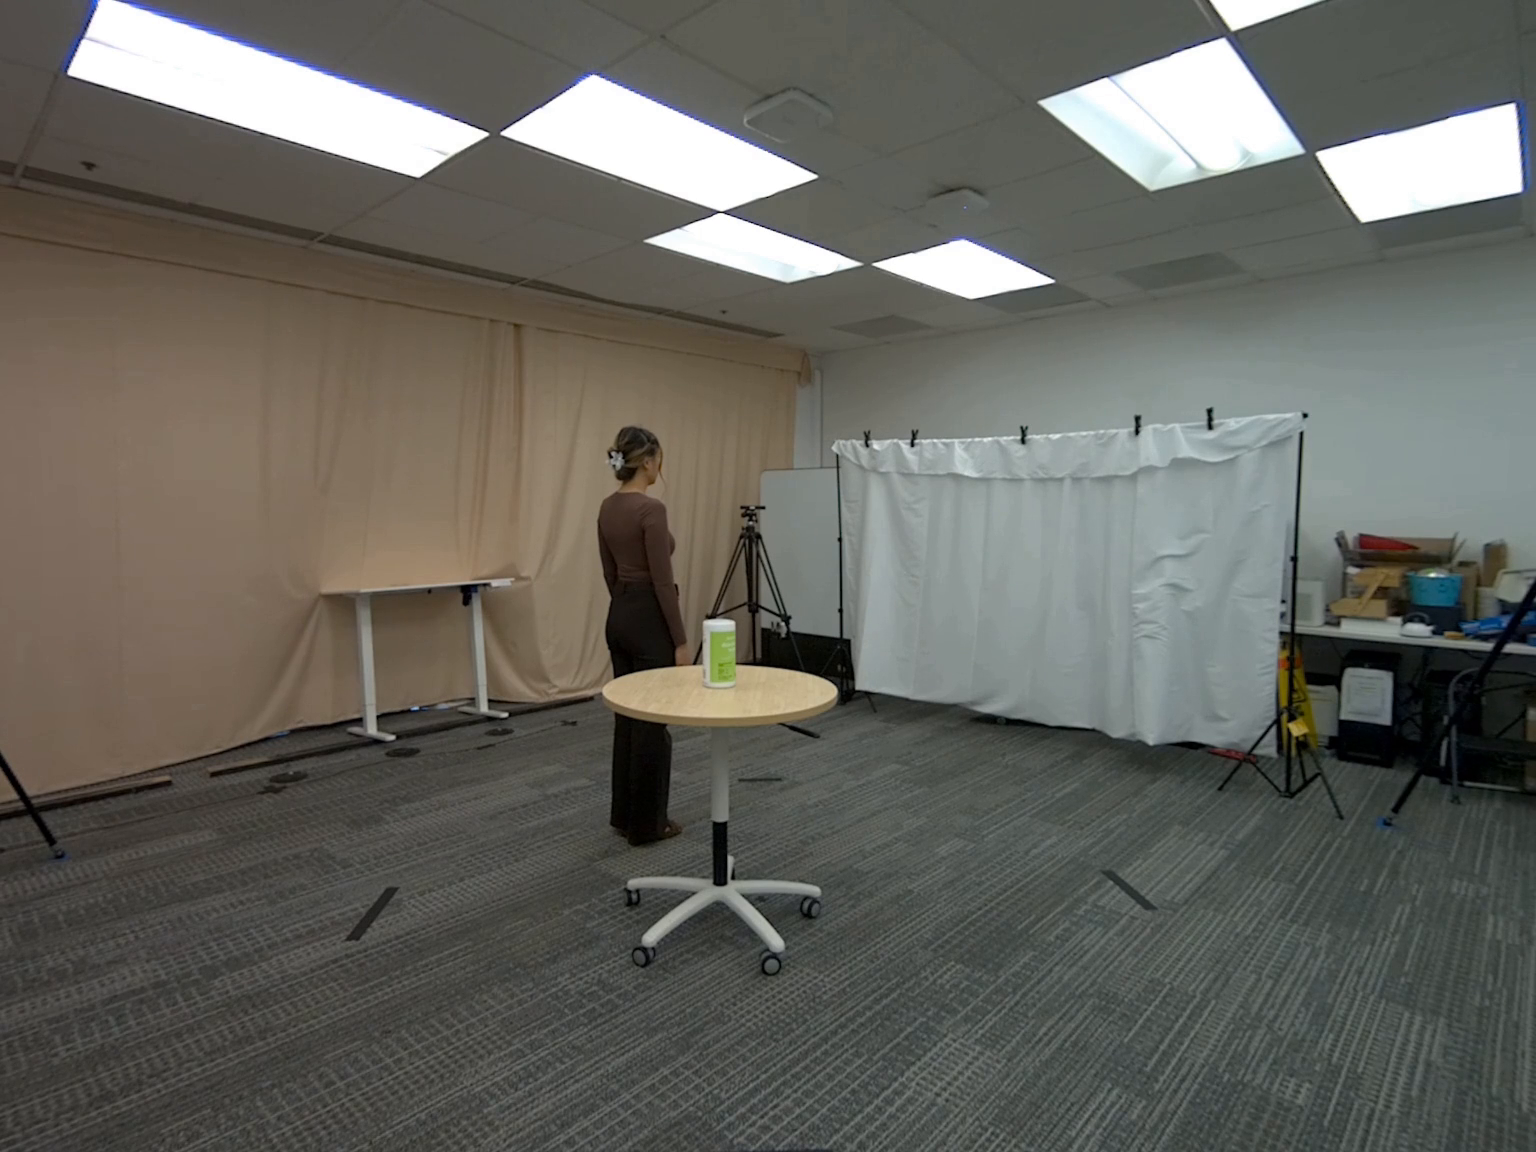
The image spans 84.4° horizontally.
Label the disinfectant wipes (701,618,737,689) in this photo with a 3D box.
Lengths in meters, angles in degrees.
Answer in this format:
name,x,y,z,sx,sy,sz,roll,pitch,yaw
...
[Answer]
name,x,y,z,sx,sy,sz,roll,pitch,yaw
disinfectant wipes,-0.162,0.258,2.787,0.118,0.217,0.118,1,2,-2
